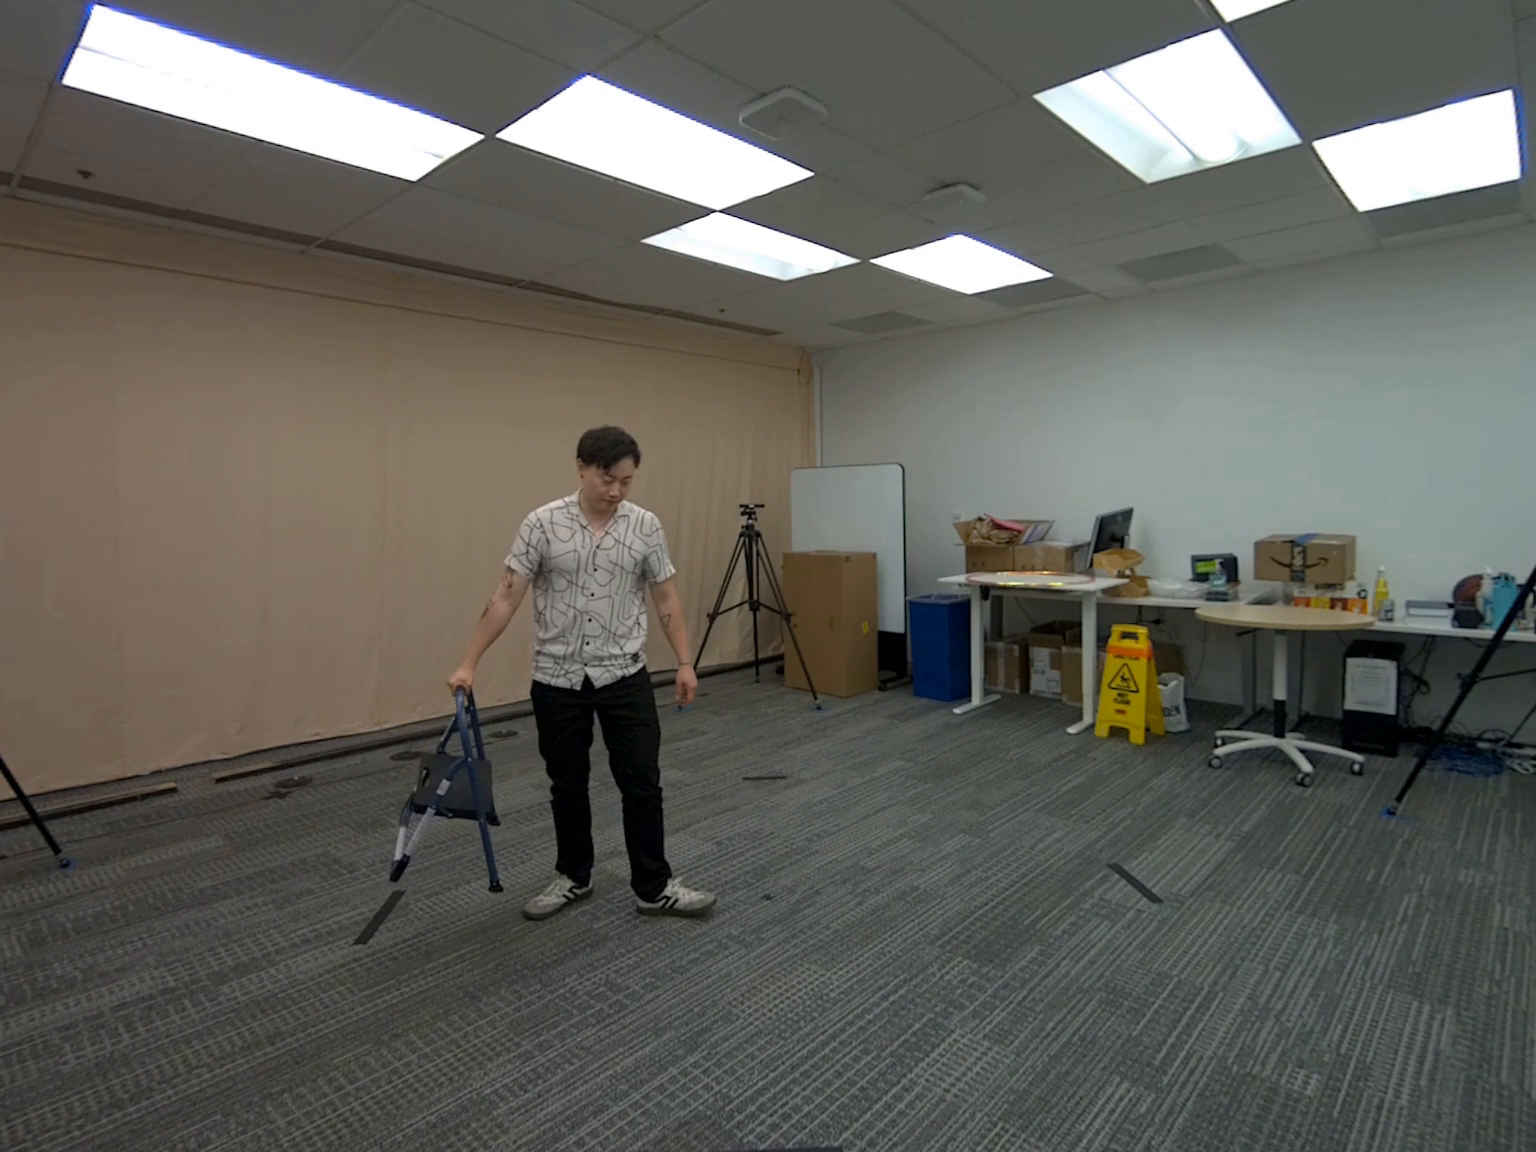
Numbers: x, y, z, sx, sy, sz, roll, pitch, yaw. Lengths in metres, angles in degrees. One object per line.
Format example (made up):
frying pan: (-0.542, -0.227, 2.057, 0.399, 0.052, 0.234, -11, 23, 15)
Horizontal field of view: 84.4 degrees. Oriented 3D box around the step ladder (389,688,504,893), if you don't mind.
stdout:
step ladder: (-0.993, 0.649, 2.795, 0.342, 0.604, 0.441, 12, 10, -20)
